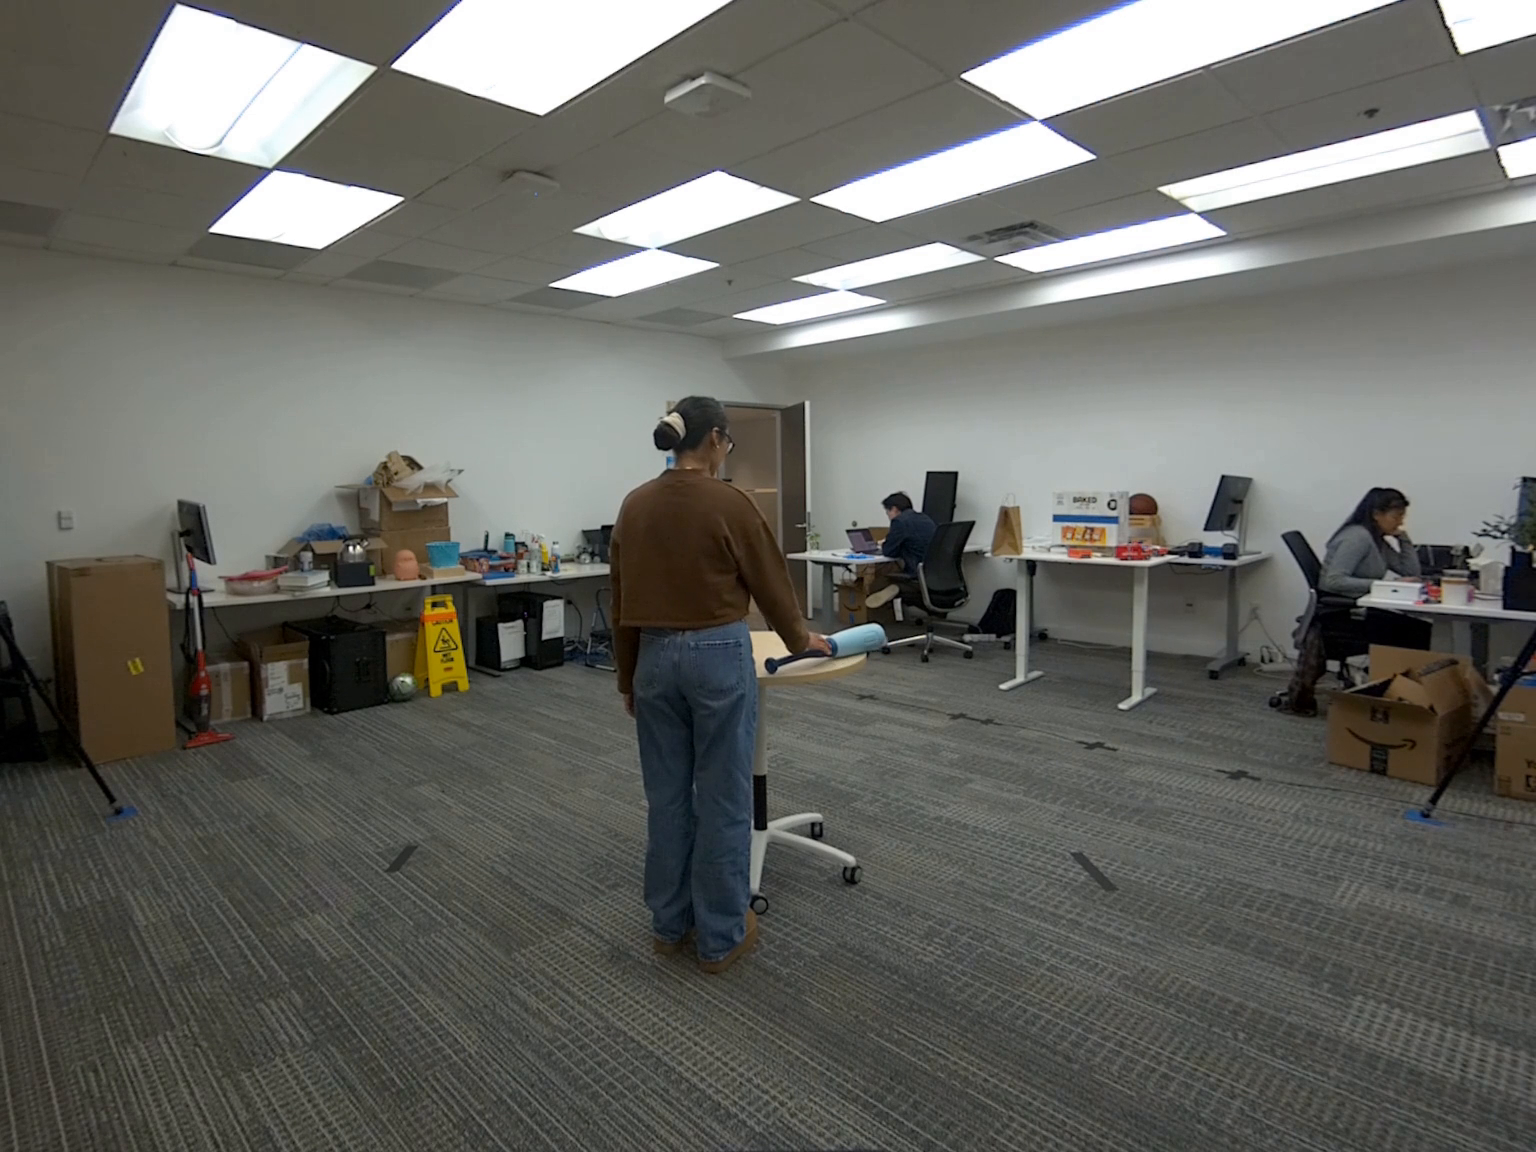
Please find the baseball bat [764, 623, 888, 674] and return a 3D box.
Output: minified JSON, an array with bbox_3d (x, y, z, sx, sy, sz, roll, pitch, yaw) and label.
[{"bbox_3d":[0.202,0.248,2.856,0.530,0.088,0.092,-11,11,-44],"label":"baseball bat"}]
